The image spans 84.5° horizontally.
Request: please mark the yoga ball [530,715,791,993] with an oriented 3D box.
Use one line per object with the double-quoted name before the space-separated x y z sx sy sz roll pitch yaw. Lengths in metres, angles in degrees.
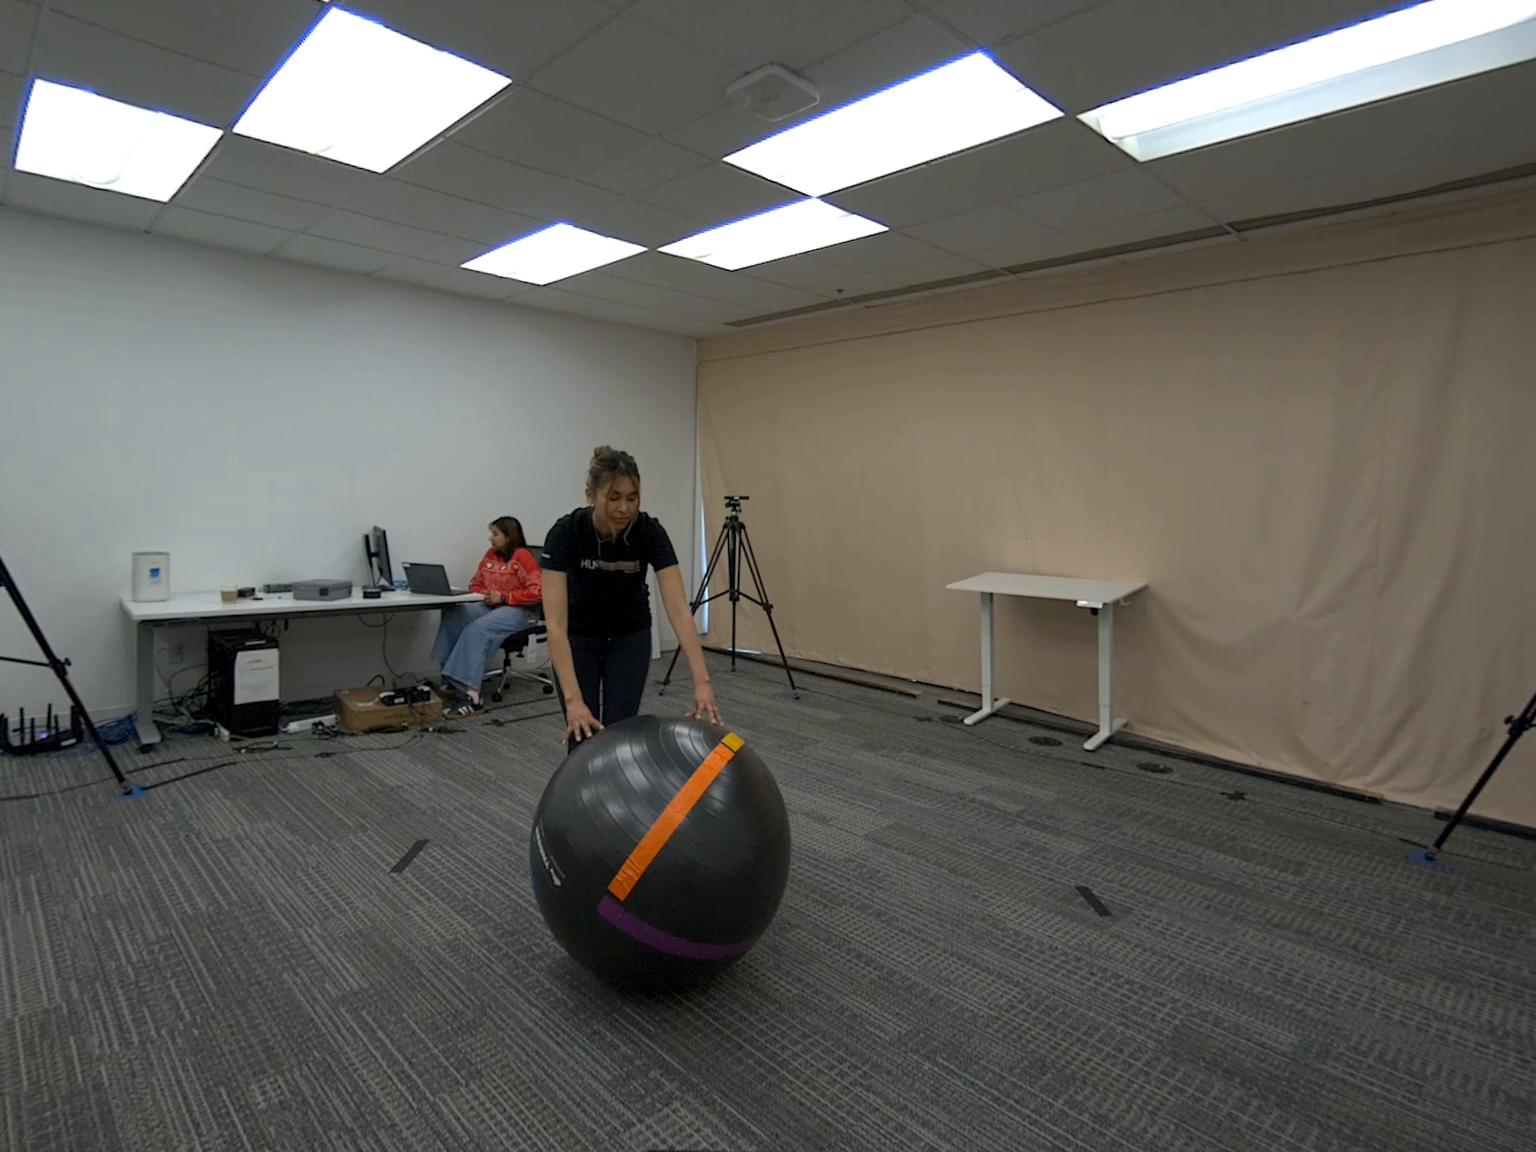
"yoga ball" -0.309 0.791 2.459 0.757 0.756 0.761 1 4 -1
